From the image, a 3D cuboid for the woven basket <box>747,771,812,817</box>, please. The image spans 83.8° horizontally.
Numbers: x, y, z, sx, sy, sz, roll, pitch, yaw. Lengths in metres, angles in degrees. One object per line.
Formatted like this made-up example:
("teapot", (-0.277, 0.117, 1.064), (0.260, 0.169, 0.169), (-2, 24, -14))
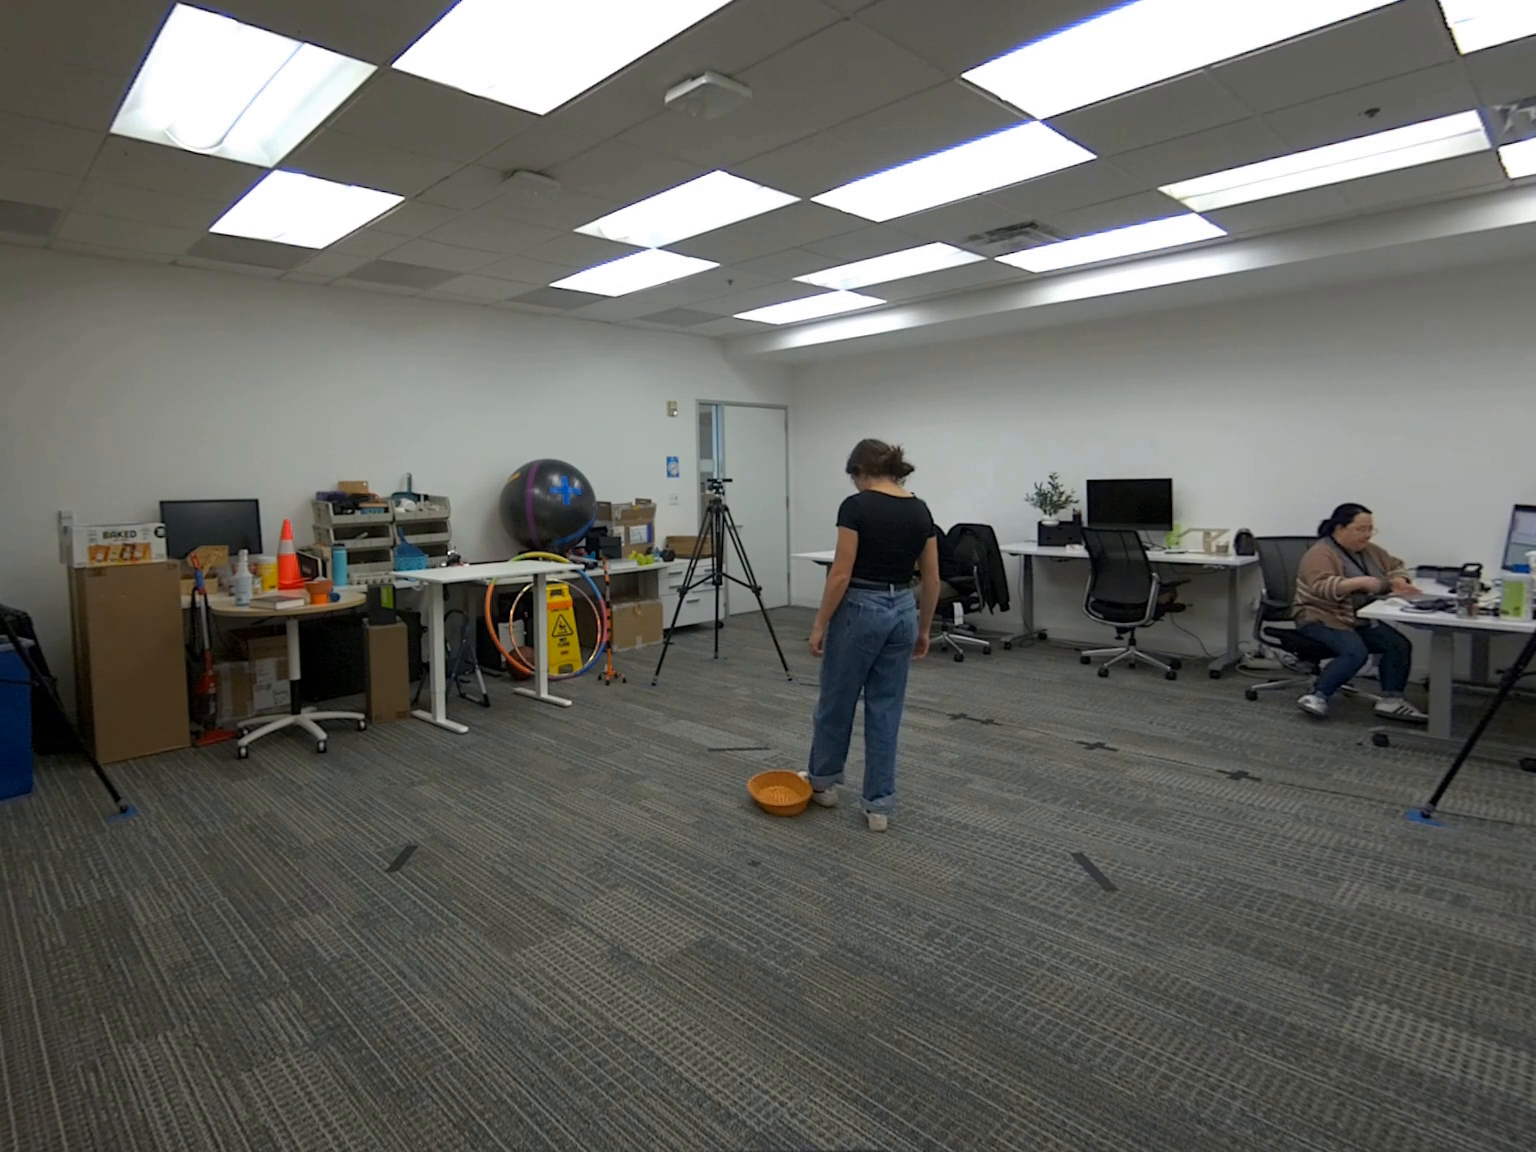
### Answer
("woven basket", (0.047, 0.934, 3.656), (0.249, 0.073, 0.358), (-9, 10, -16))
